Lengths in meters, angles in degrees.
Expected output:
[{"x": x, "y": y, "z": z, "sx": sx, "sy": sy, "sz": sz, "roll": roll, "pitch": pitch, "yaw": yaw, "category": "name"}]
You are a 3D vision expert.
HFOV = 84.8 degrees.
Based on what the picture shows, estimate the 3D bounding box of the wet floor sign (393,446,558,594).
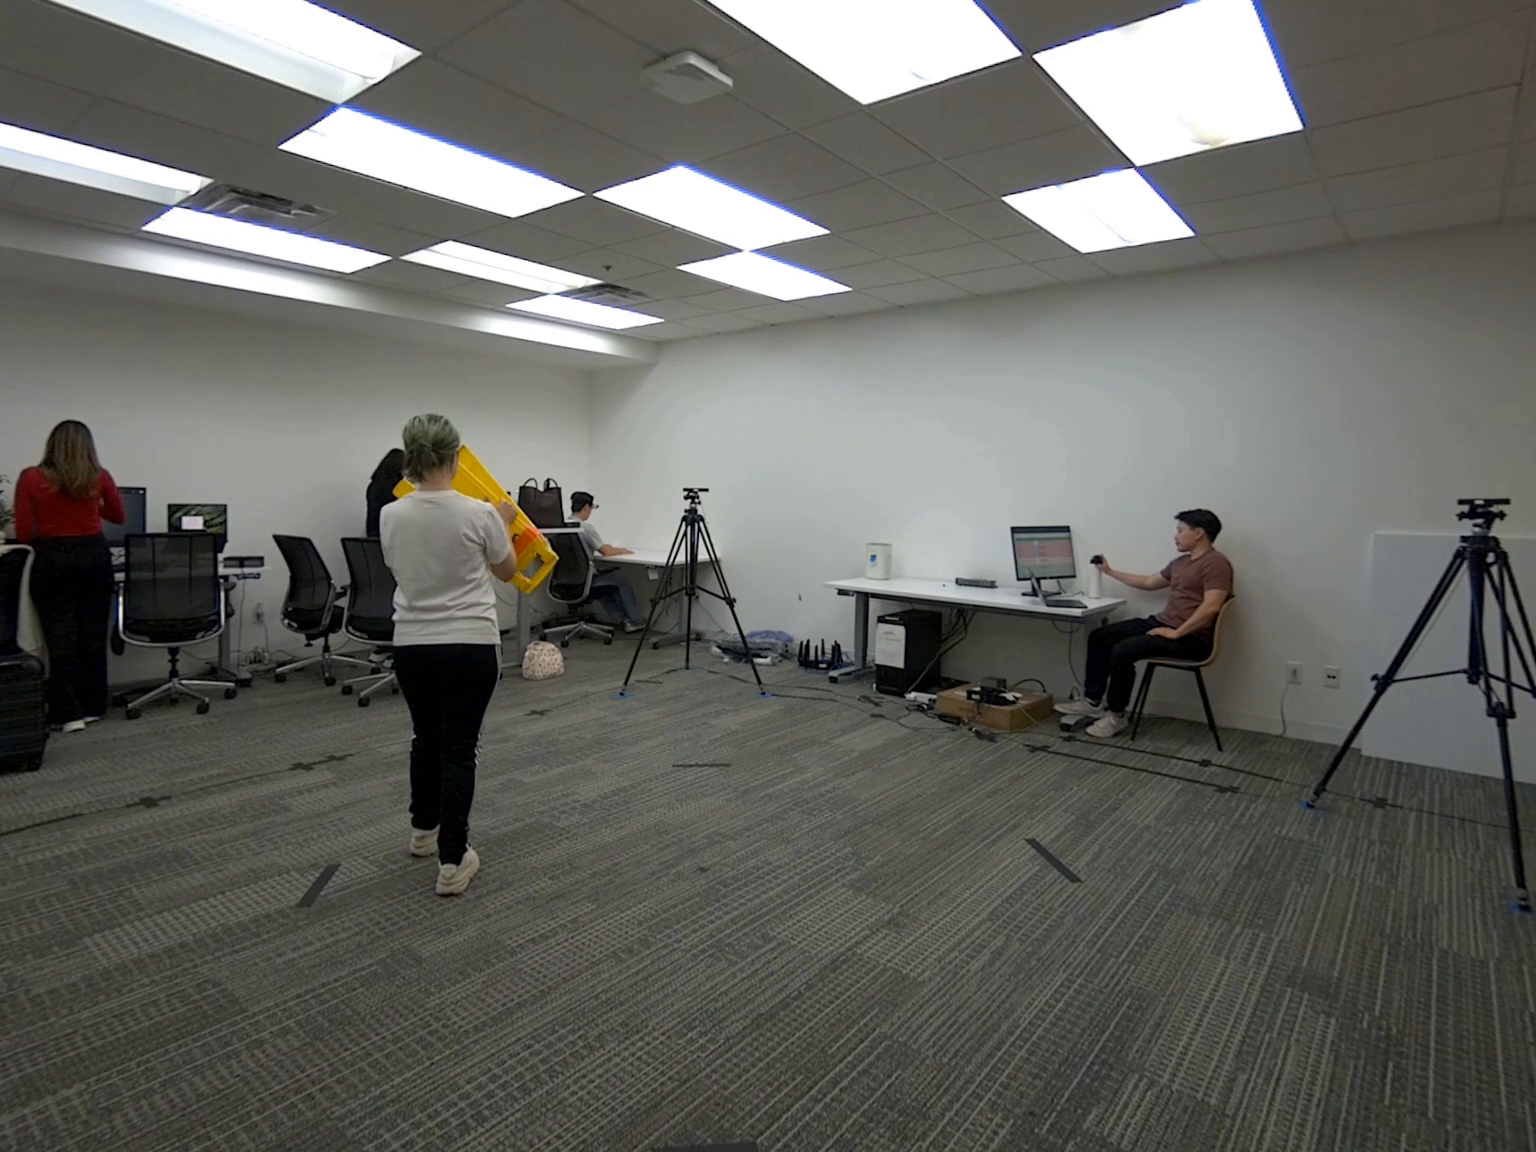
[{"x": -1.138, "y": -0.215, "z": 3.385, "sx": 0.649, "sy": 0.282, "sz": 0.288, "roll": 43, "pitch": 8, "yaw": 2, "category": "wet floor sign"}]
